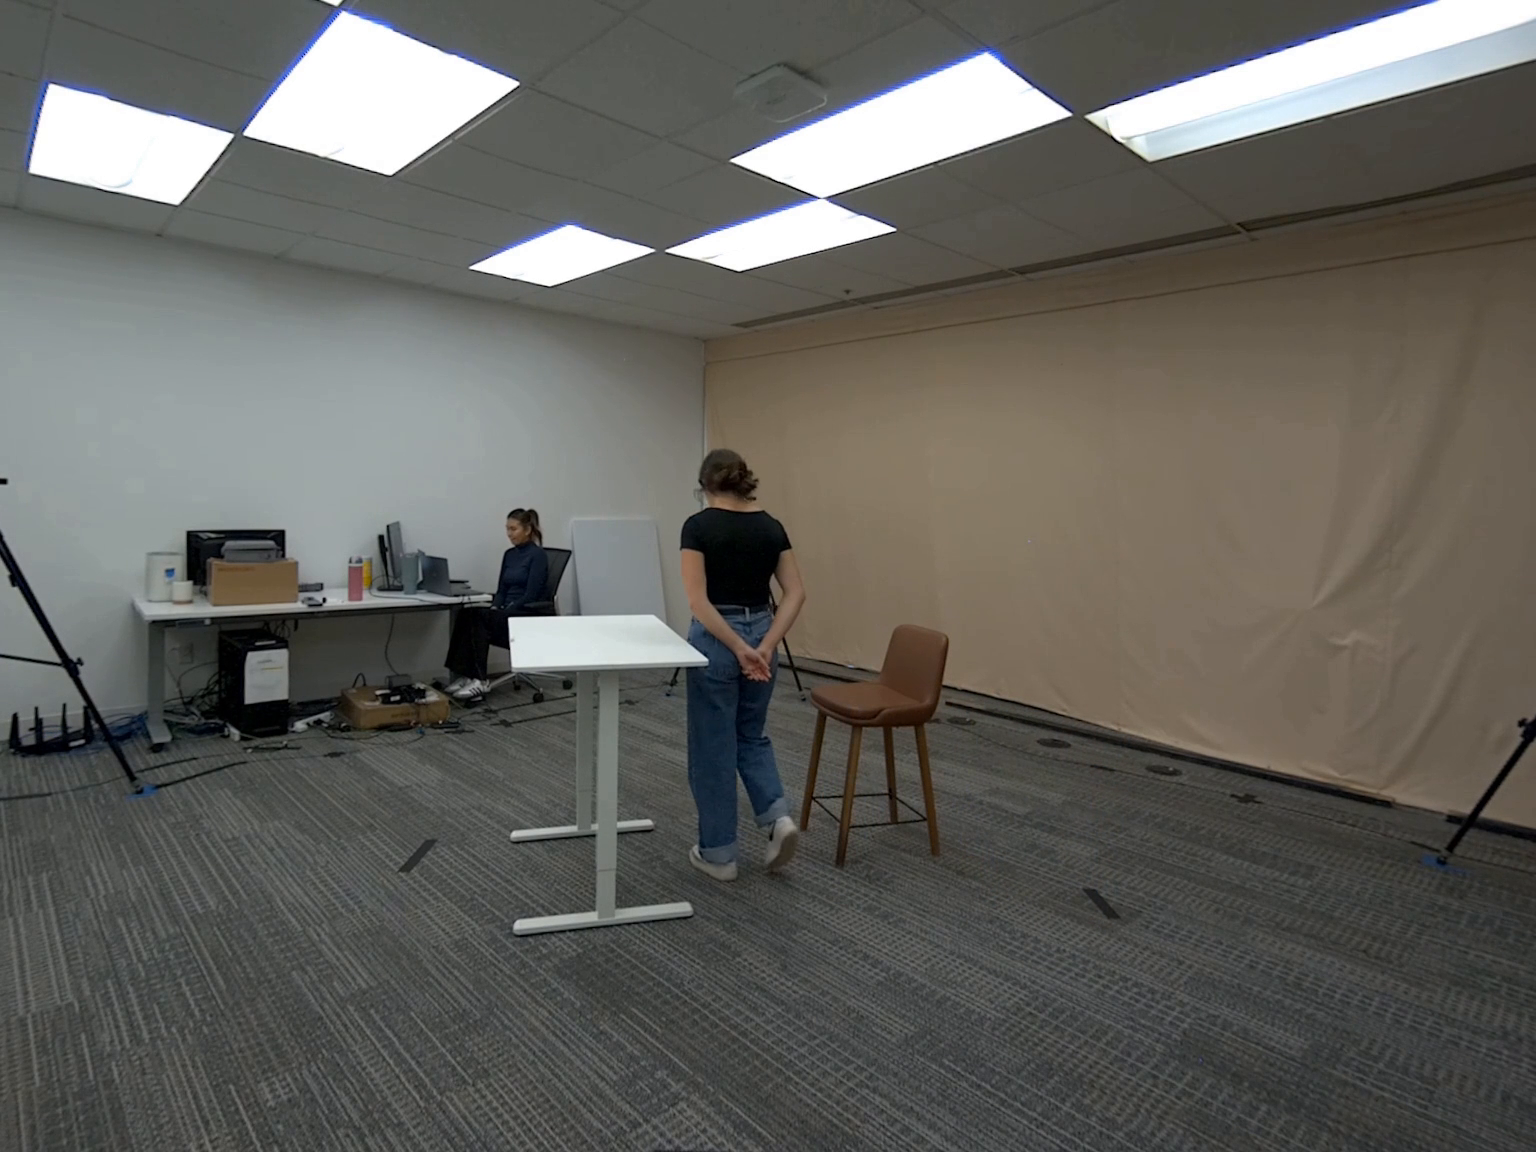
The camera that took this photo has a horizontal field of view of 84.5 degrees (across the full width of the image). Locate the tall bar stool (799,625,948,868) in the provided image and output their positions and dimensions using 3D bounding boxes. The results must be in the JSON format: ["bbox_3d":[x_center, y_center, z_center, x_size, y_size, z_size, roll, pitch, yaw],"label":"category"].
[{"bbox_3d":[0.419,0.658,3.426,0.461,0.888,0.464,2,3,-19],"label":"tall bar stool"}]
